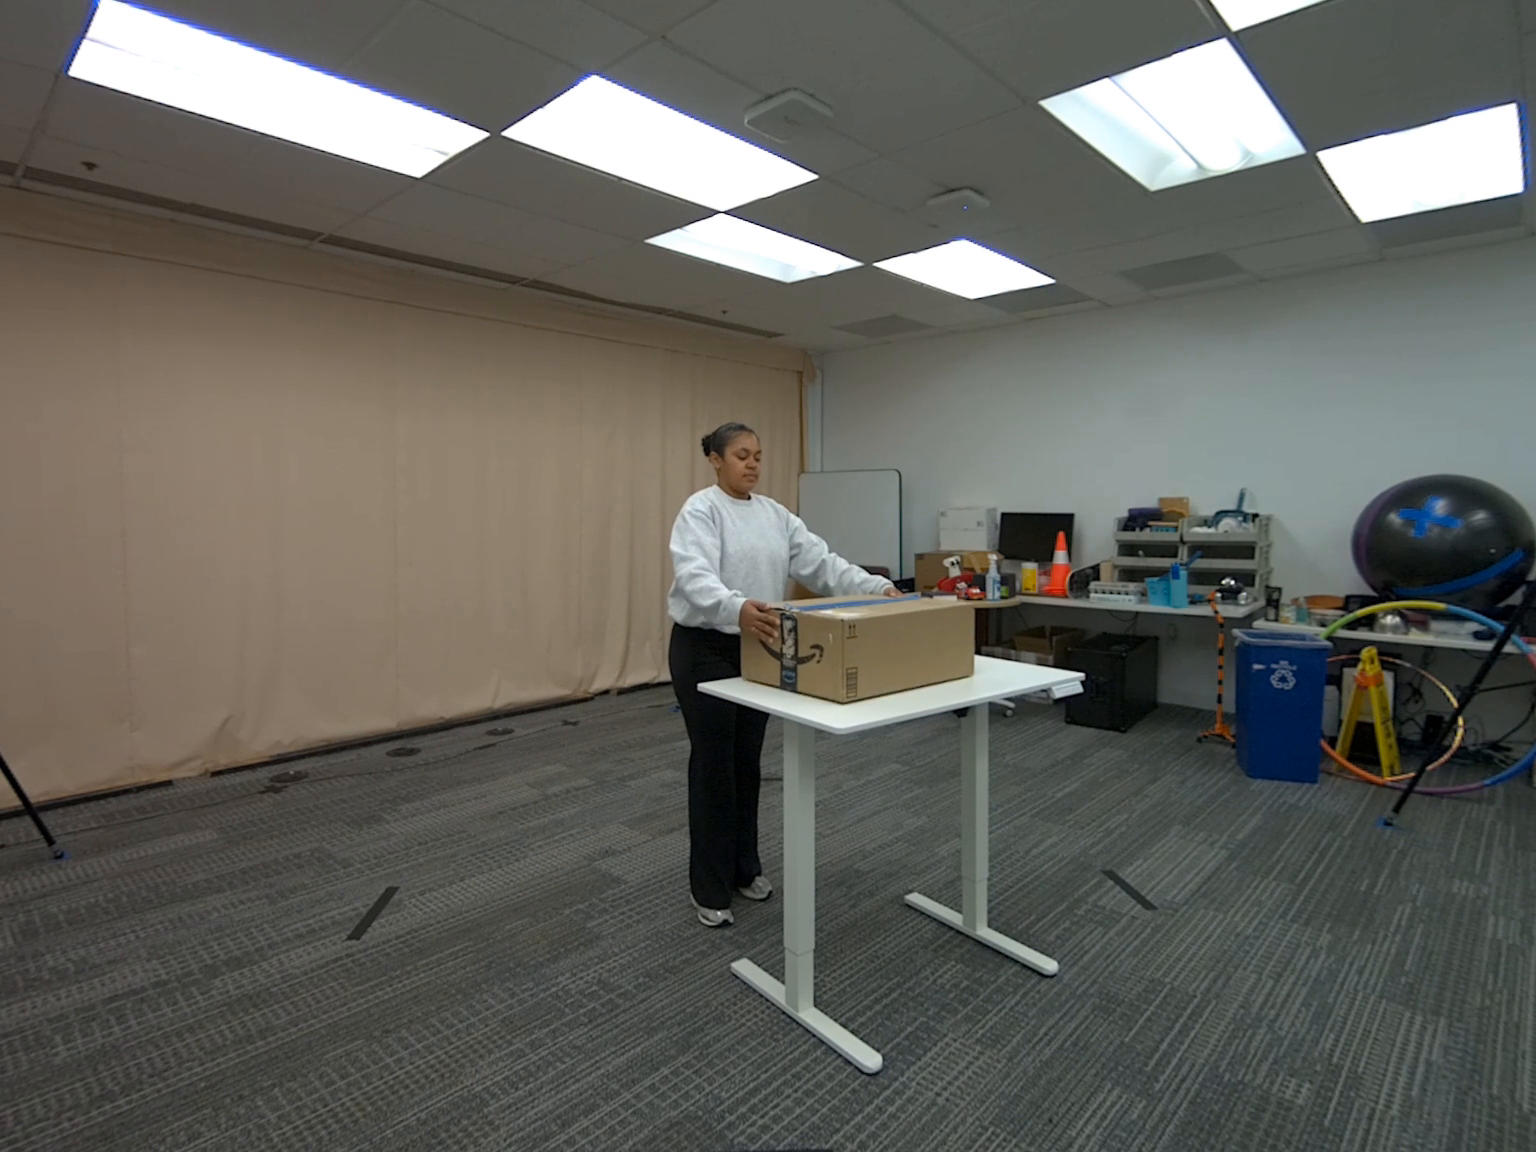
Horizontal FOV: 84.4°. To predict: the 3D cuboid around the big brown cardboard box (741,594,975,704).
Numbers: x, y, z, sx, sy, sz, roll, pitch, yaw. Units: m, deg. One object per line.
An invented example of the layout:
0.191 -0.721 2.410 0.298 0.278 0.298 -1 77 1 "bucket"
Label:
0.266 0.186 2.475 0.571 0.233 0.431 -1 4 -39 "big brown cardboard box"
